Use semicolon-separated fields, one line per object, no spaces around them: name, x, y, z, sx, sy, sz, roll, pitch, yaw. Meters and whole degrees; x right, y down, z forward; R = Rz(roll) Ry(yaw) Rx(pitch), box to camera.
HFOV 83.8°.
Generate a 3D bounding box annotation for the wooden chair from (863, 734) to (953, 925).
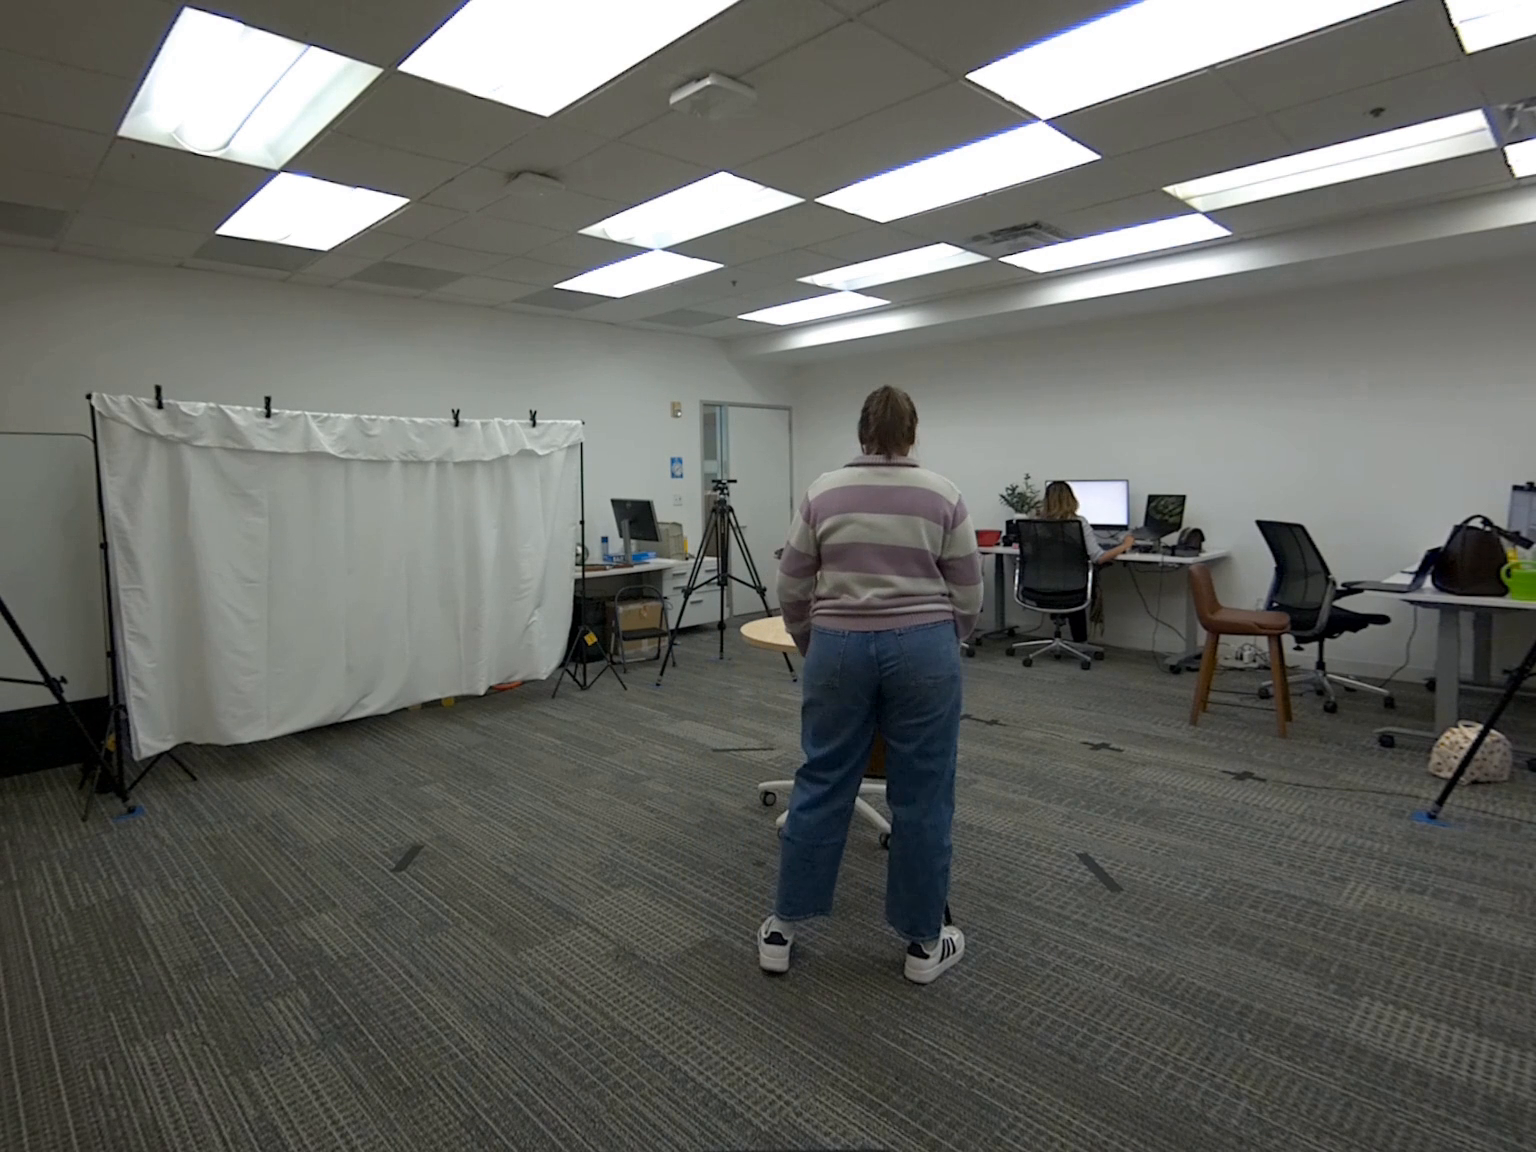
wooden chair;0.384;0.637;2.909;0.484;0.871;0.520;0;8;12
